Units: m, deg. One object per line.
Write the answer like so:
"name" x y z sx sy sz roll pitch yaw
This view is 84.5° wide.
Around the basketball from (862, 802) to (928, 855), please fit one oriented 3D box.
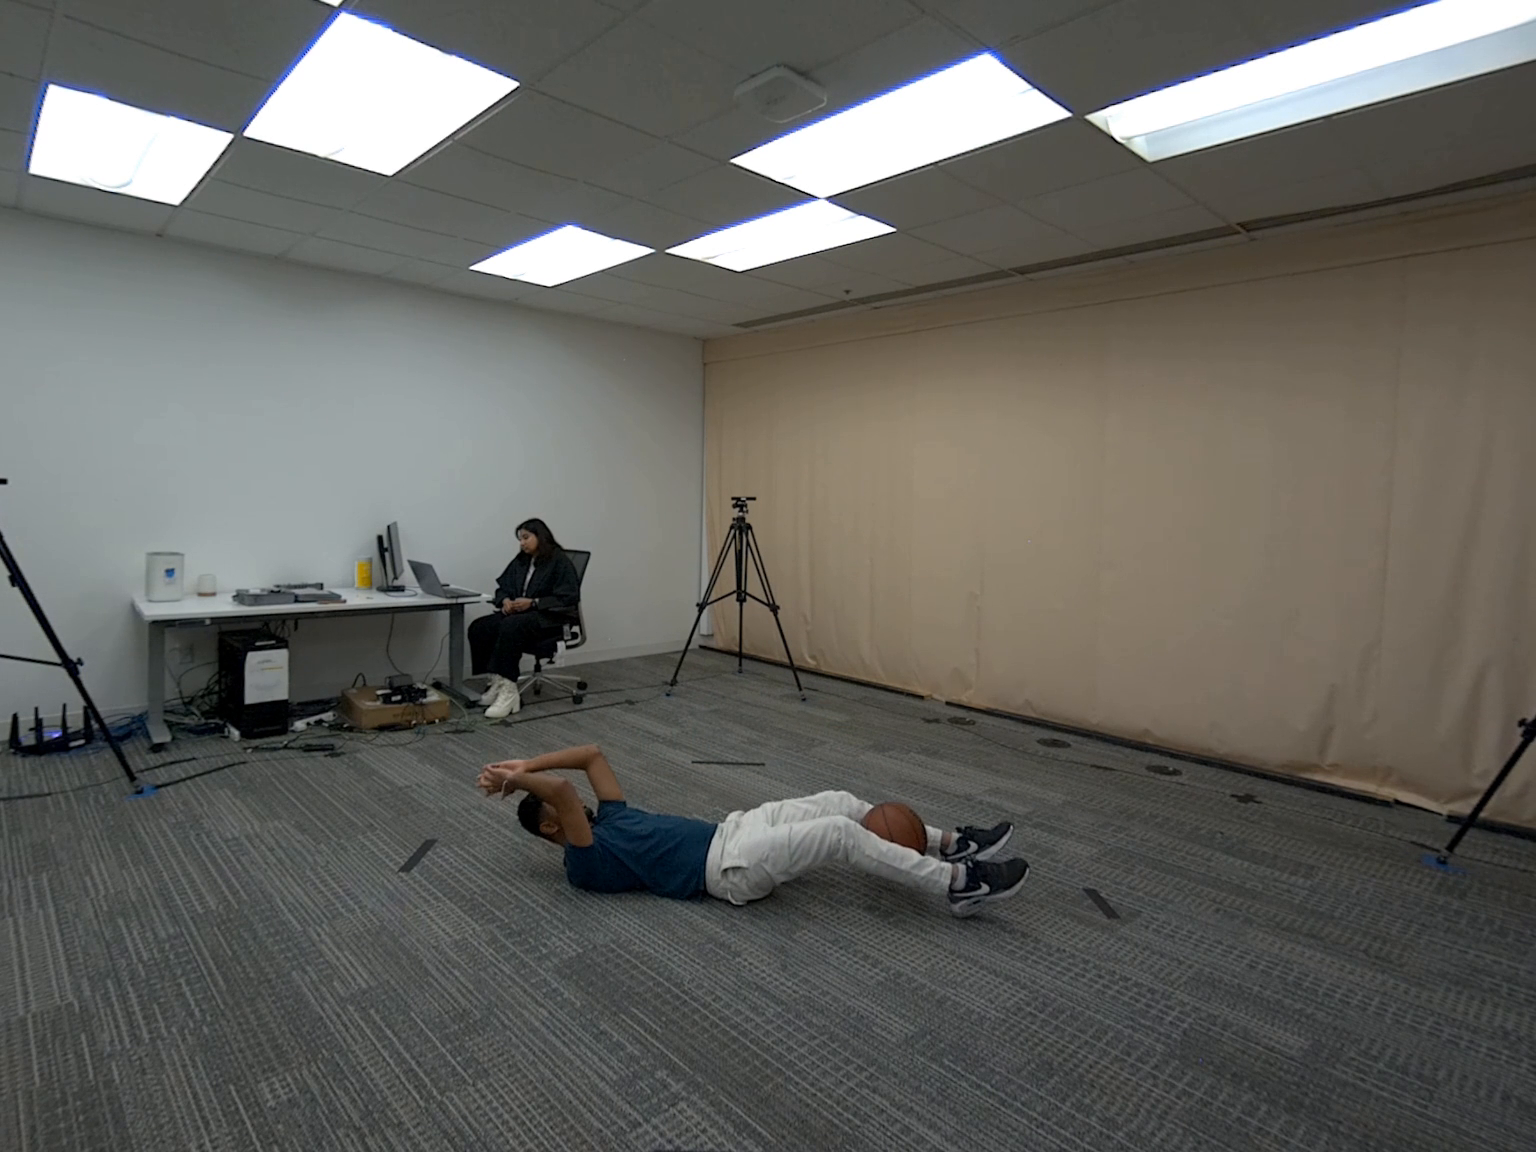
"basketball" 0.435 0.909 2.956 0.236 0.235 0.237 1 4 -1
